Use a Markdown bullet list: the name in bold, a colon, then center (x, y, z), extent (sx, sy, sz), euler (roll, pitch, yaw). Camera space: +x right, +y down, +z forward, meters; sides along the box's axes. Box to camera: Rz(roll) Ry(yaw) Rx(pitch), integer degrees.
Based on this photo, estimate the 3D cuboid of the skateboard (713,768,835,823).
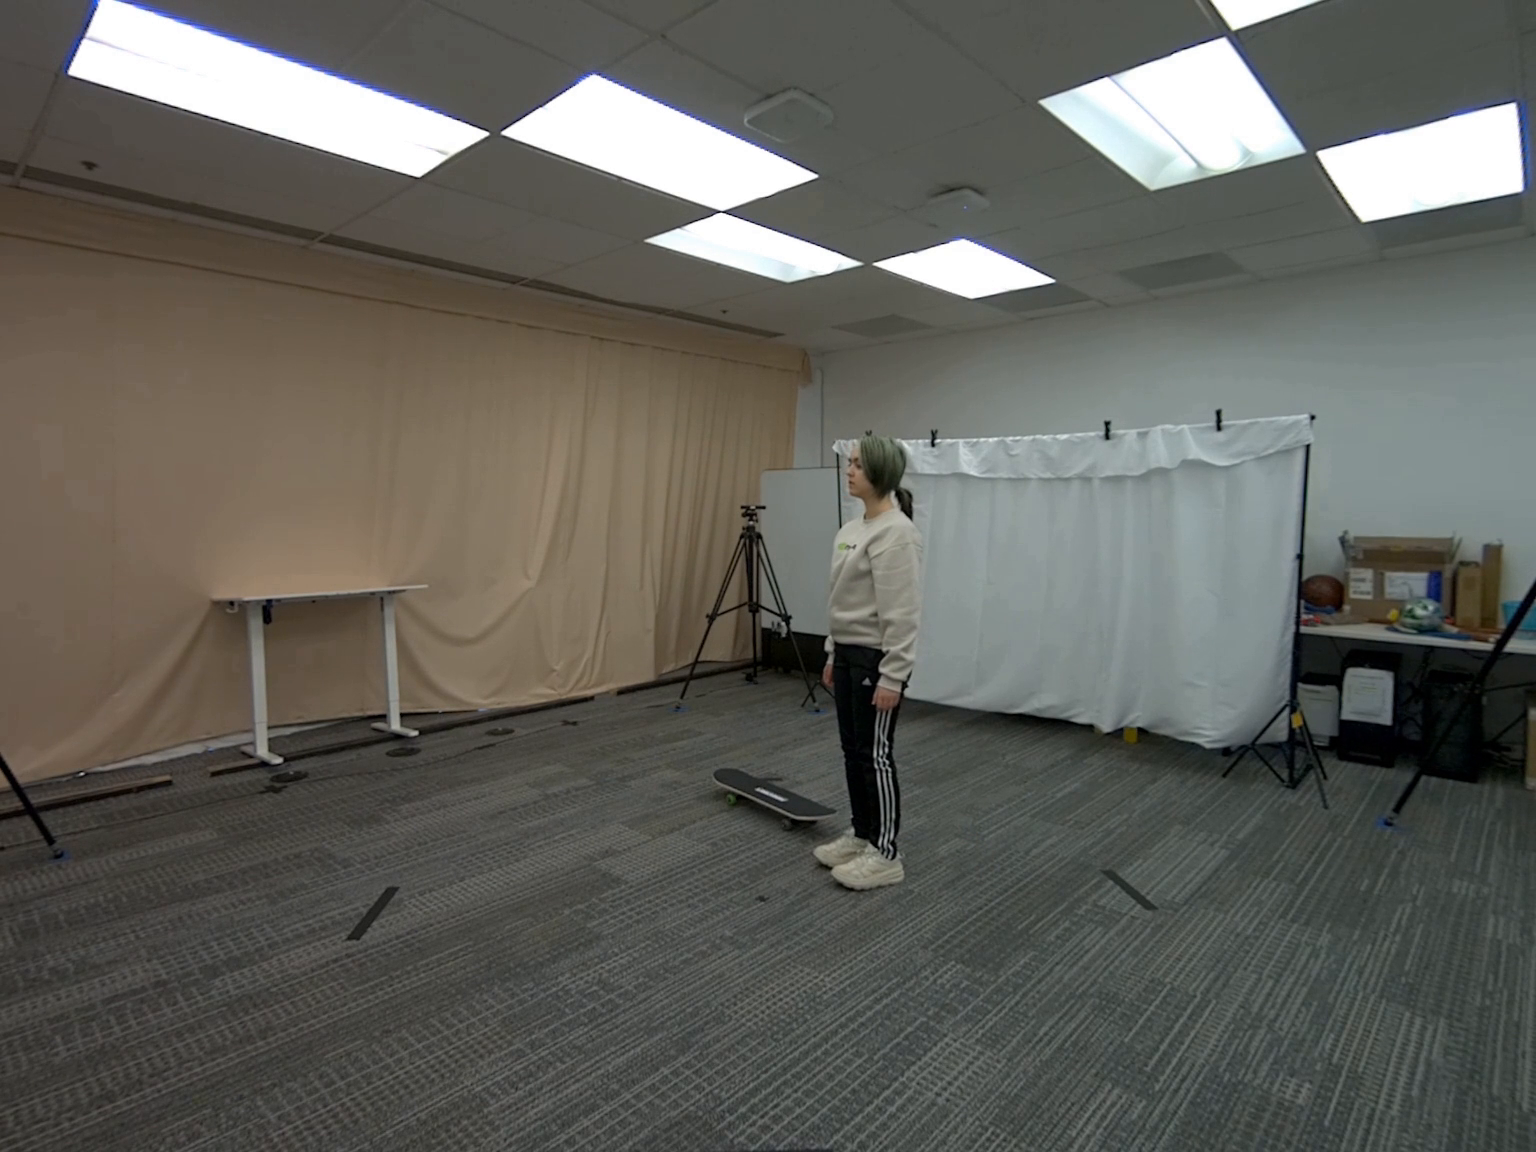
- **skateboard**: center (0.017, 1.021, 3.818), extent (0.188, 0.110, 0.811), euler (-3, 5, -37)
